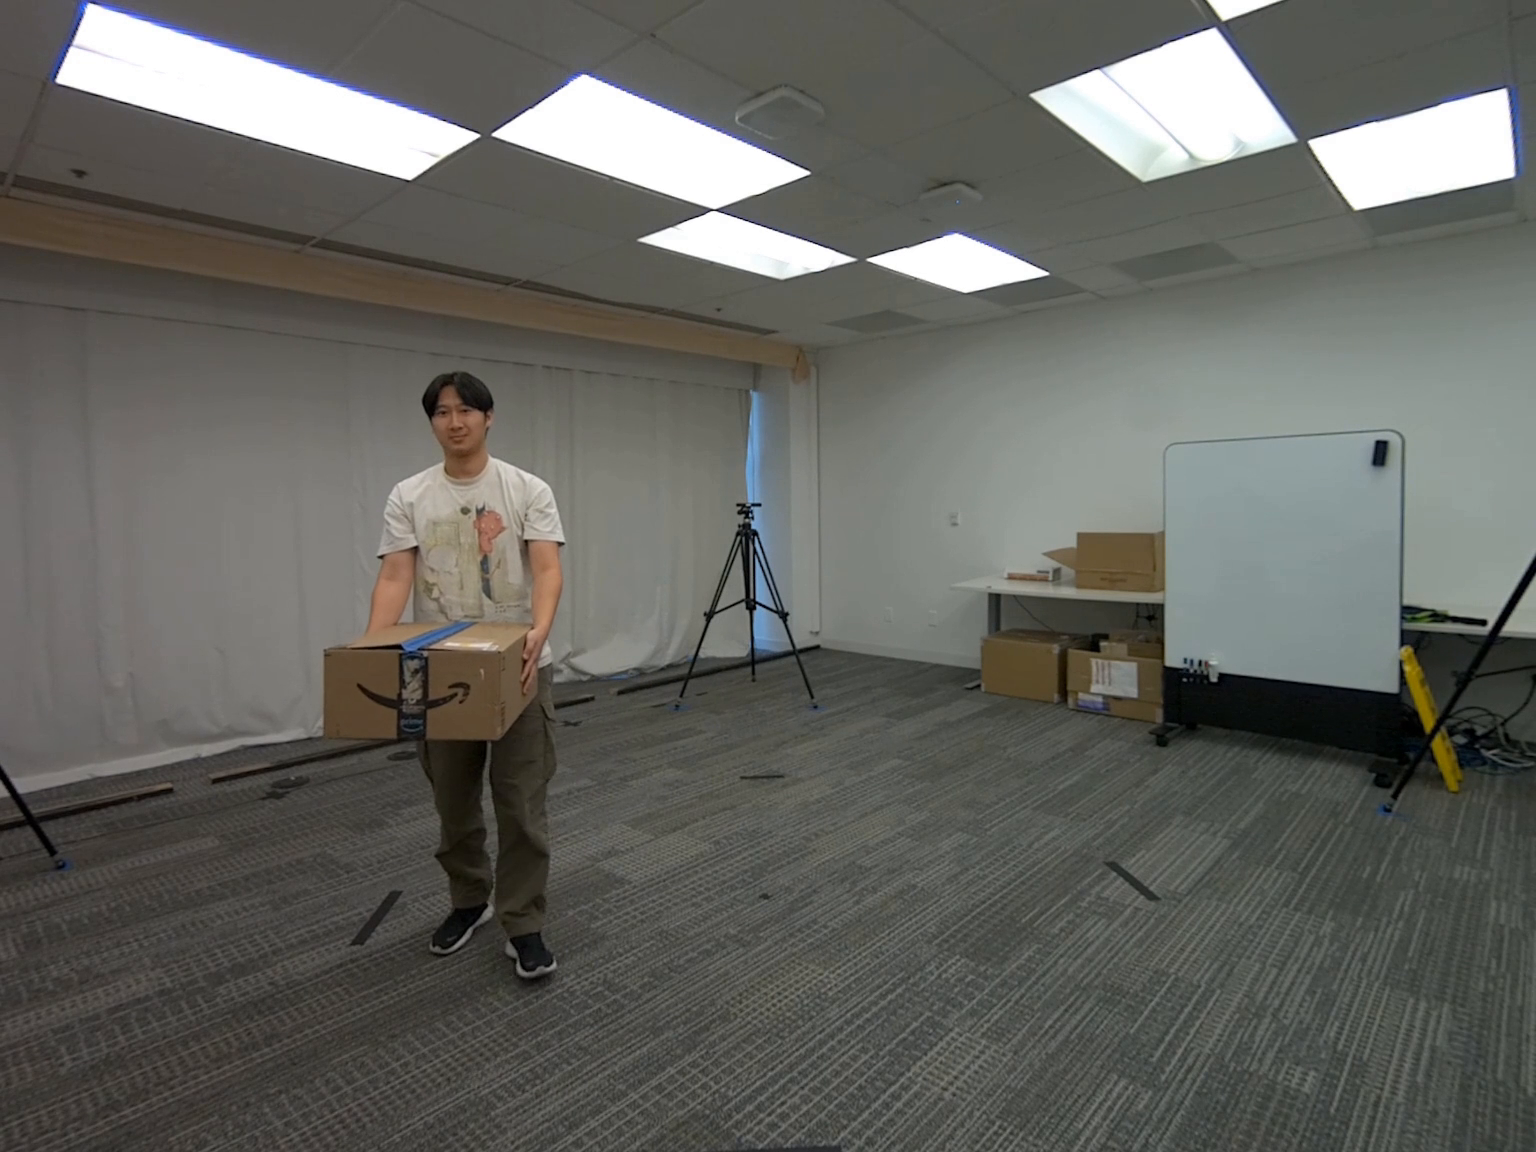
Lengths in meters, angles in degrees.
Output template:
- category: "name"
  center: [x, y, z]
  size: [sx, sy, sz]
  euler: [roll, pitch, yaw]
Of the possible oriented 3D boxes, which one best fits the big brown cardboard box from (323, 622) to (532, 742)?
- category: "big brown cardboard box"
  center: [-0.867, 0.263, 2.258]
  size: [0.415, 0.233, 0.593]
  euler: [0, 2, -6]
